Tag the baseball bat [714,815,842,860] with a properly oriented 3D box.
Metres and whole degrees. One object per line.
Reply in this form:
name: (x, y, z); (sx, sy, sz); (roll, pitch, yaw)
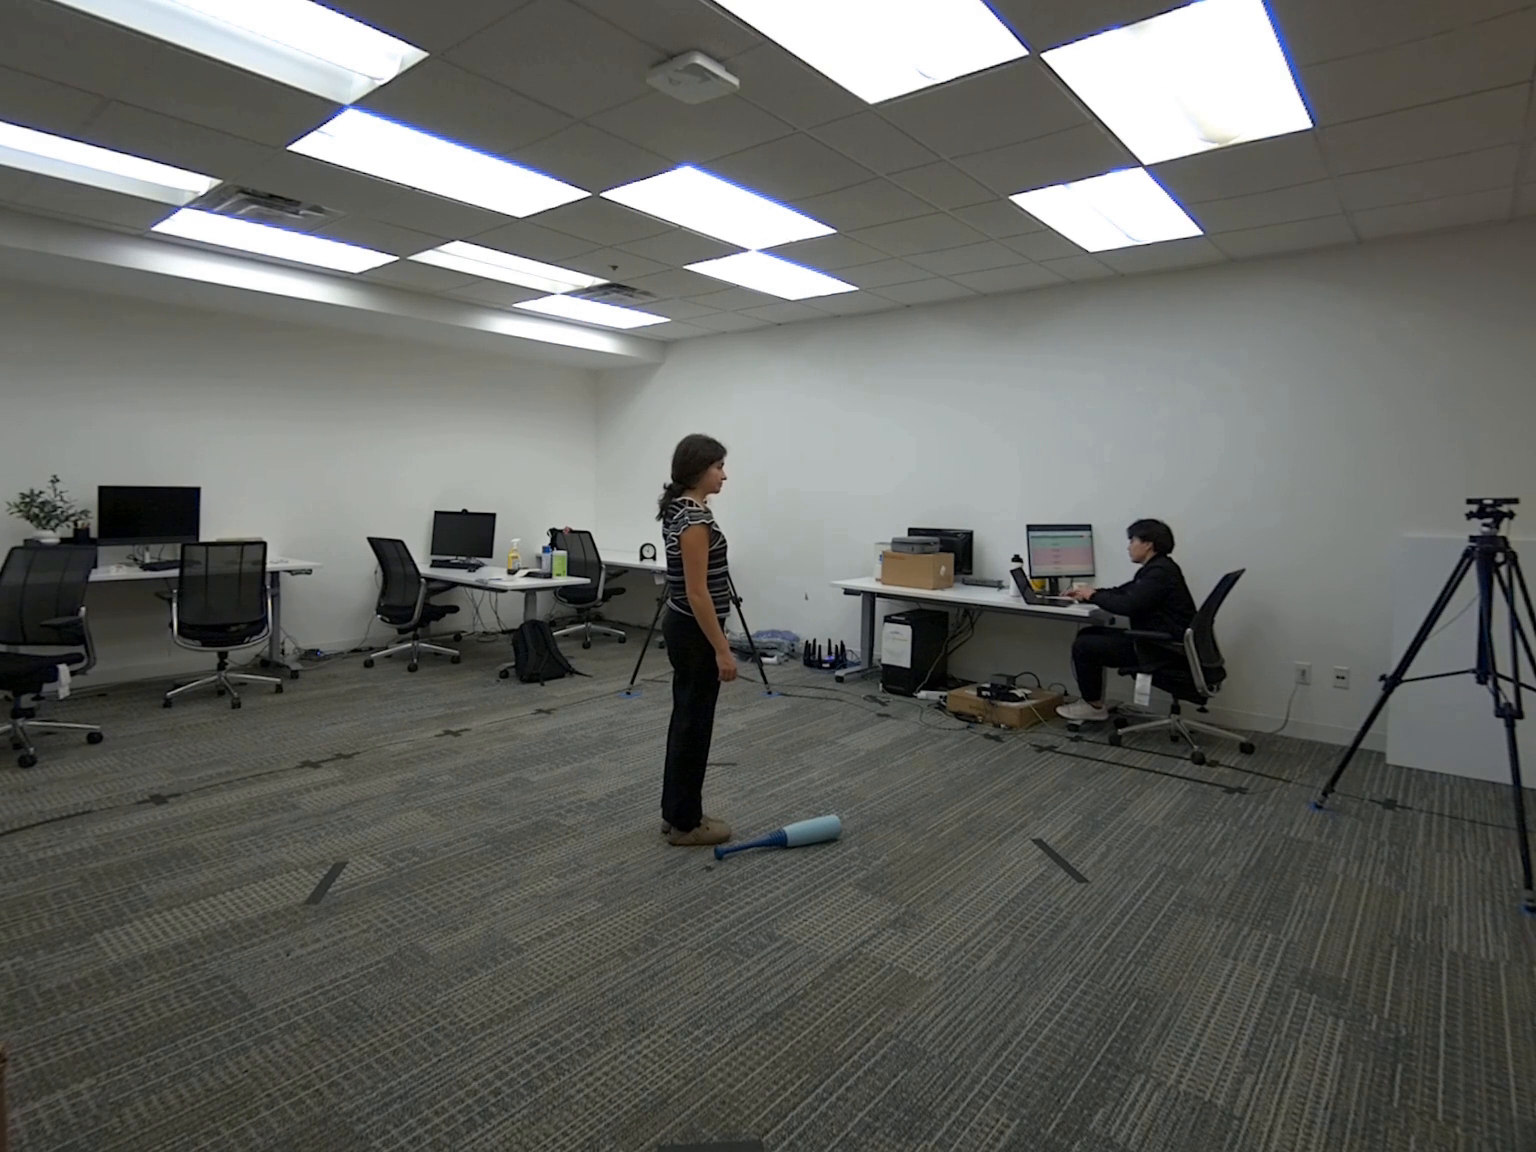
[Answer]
baseball bat: (0.035, 1.016, 3.298); (0.531, 0.088, 0.091); (-4, 6, -25)
